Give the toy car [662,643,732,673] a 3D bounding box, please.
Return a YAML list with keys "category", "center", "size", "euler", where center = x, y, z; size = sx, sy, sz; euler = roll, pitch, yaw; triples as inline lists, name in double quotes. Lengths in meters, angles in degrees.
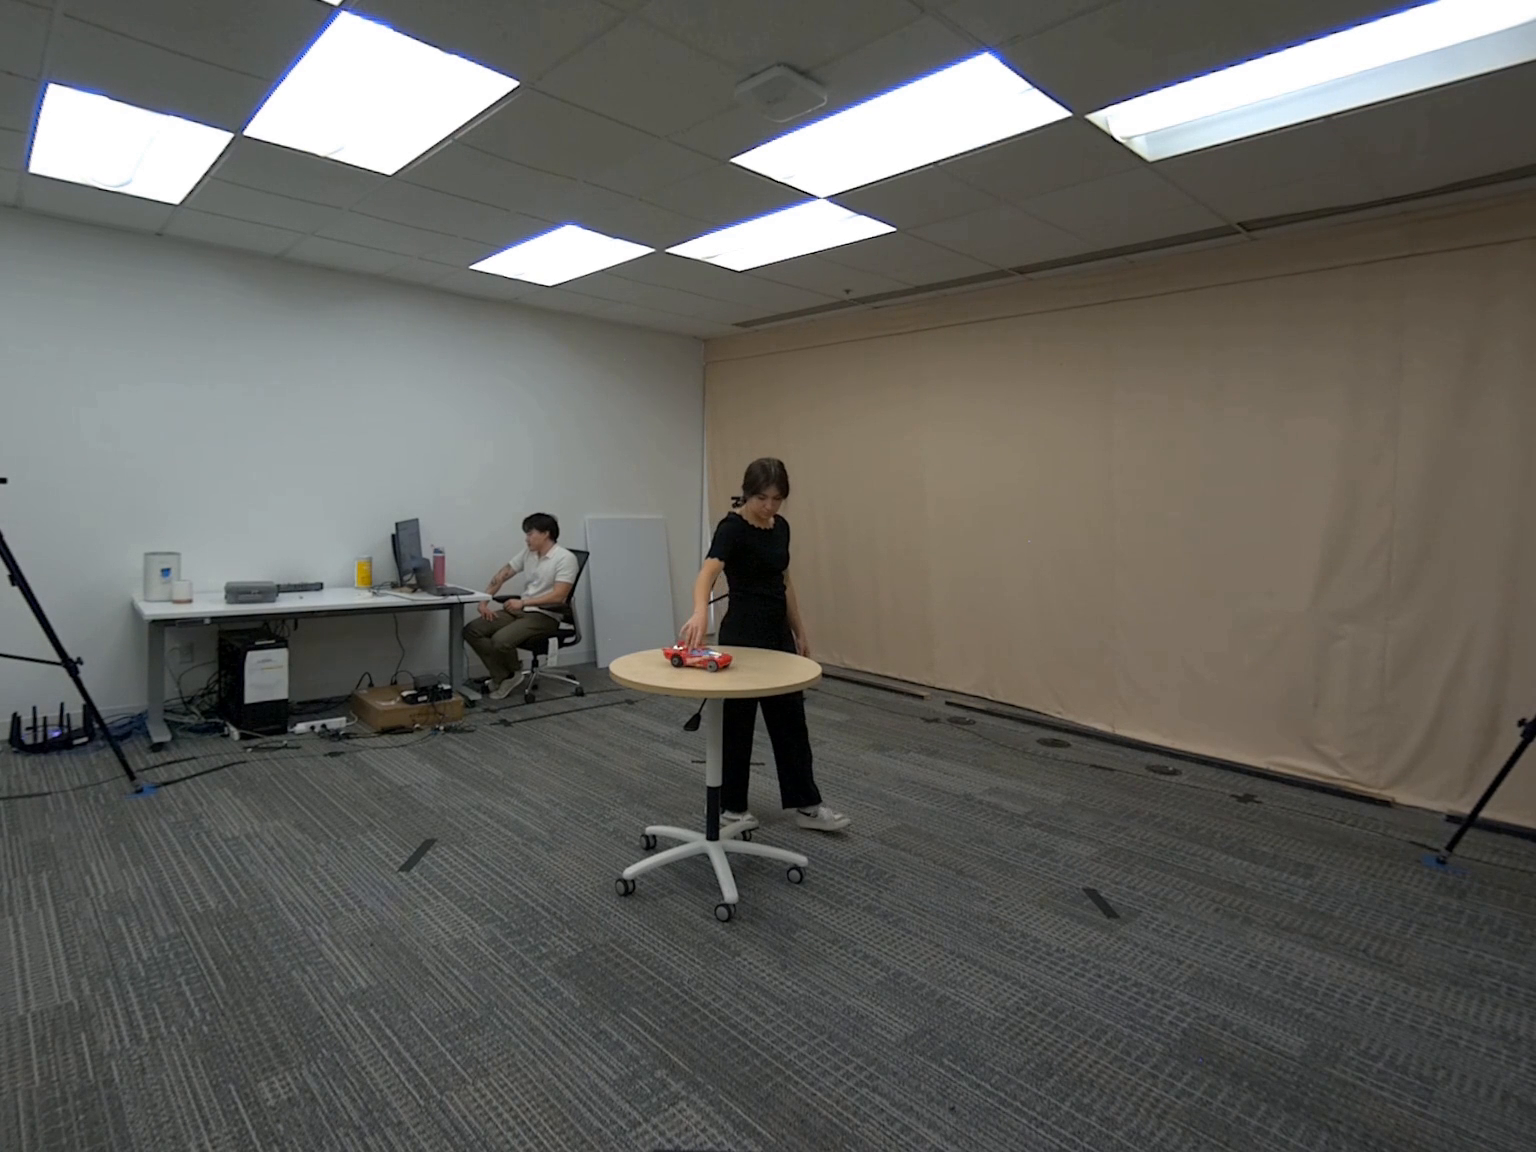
- category: "toy car"
  center: [-0.267, 0.296, 3.025]
  size: [0.260, 0.083, 0.128]
  euler: [15, 11, 26]
